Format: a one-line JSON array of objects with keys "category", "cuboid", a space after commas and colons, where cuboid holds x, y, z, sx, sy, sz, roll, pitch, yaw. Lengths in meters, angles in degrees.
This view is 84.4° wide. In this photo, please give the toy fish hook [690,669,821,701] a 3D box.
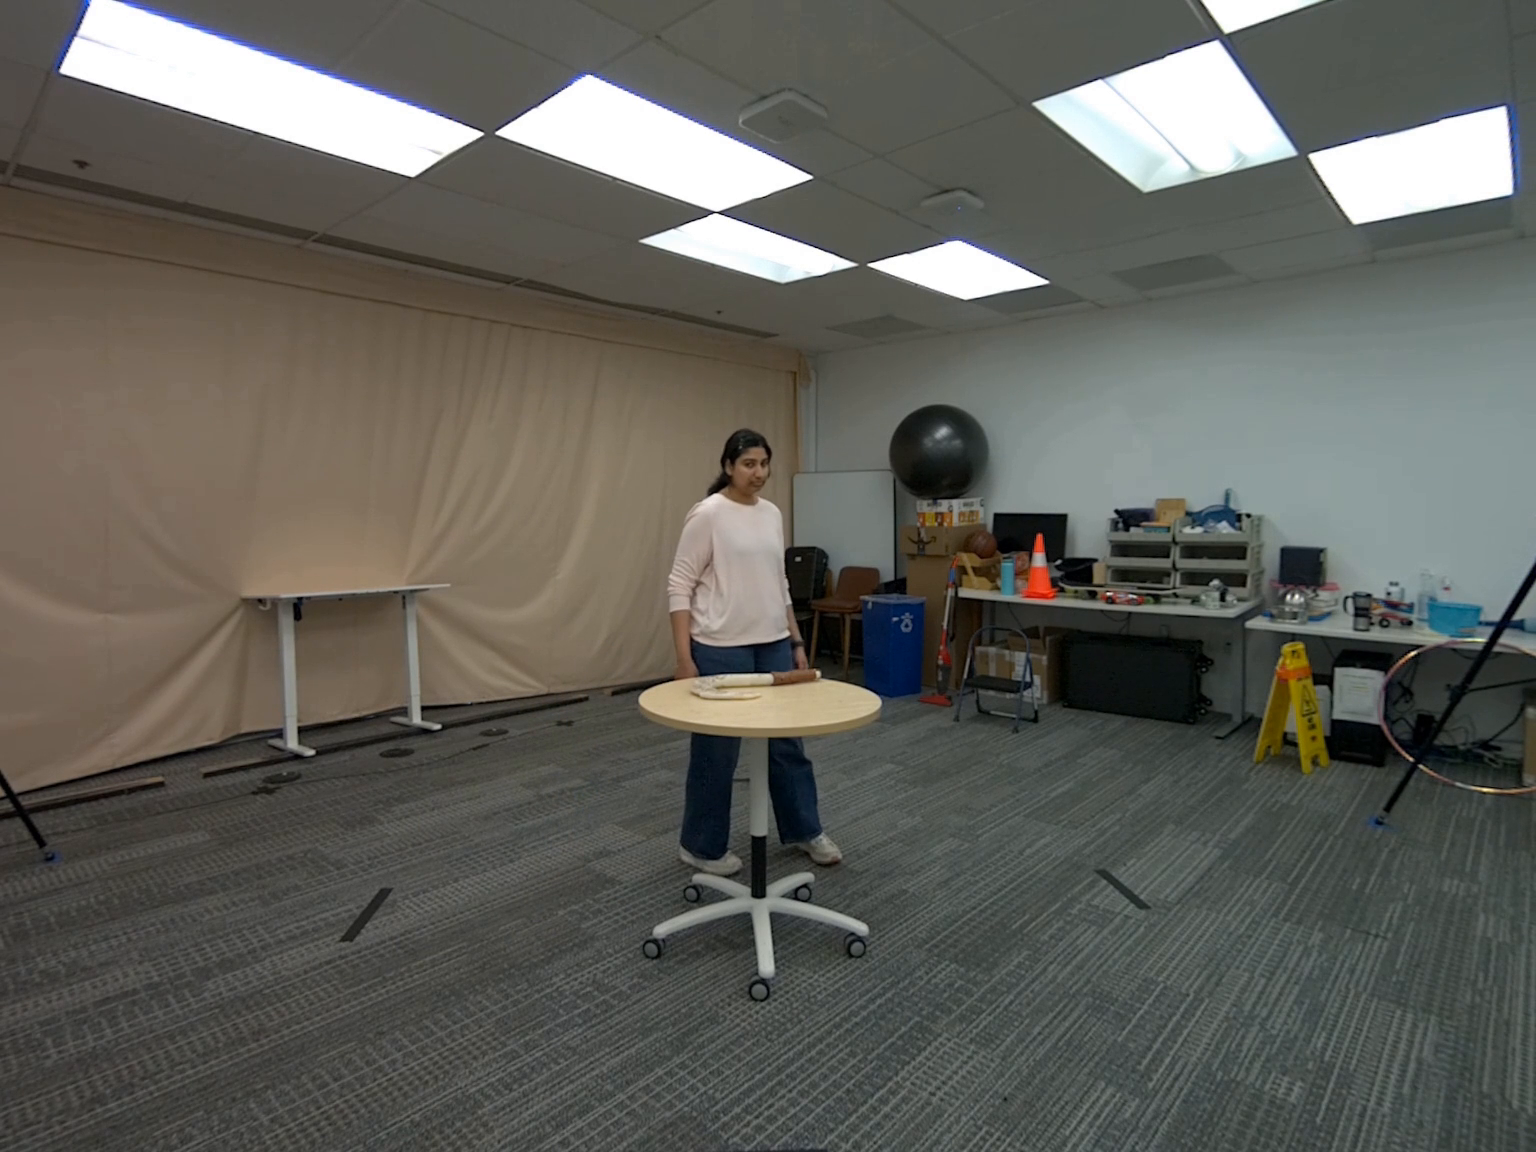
[{"category": "toy fish hook", "cuboid": [-0.004, 0.365, 2.797, 0.494, 0.048, 0.231, -3, 12, -26]}]
